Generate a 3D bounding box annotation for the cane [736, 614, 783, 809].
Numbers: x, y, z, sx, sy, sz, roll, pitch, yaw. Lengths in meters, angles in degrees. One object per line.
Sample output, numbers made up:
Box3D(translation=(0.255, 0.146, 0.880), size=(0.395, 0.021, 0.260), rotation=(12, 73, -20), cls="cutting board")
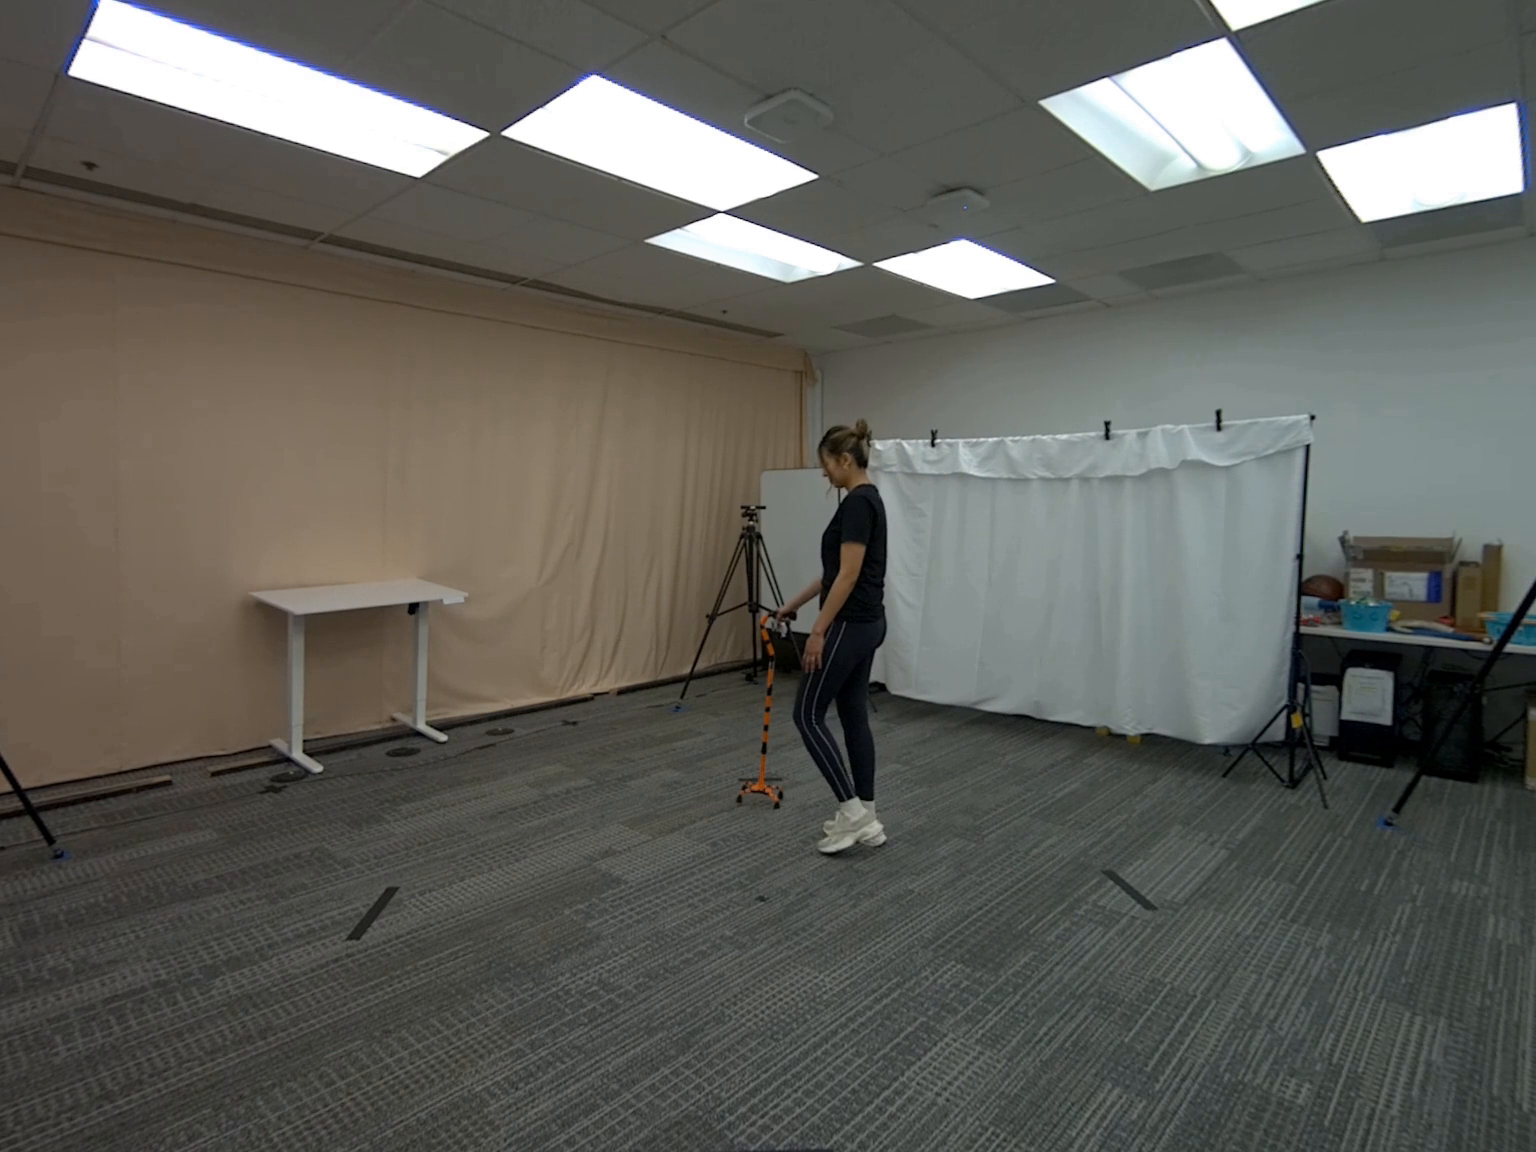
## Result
Box3D(translation=(-0.001, 0.605, 3.891), size=(0.209, 0.903, 0.151), rotation=(6, 8, 9), cls="cane")
